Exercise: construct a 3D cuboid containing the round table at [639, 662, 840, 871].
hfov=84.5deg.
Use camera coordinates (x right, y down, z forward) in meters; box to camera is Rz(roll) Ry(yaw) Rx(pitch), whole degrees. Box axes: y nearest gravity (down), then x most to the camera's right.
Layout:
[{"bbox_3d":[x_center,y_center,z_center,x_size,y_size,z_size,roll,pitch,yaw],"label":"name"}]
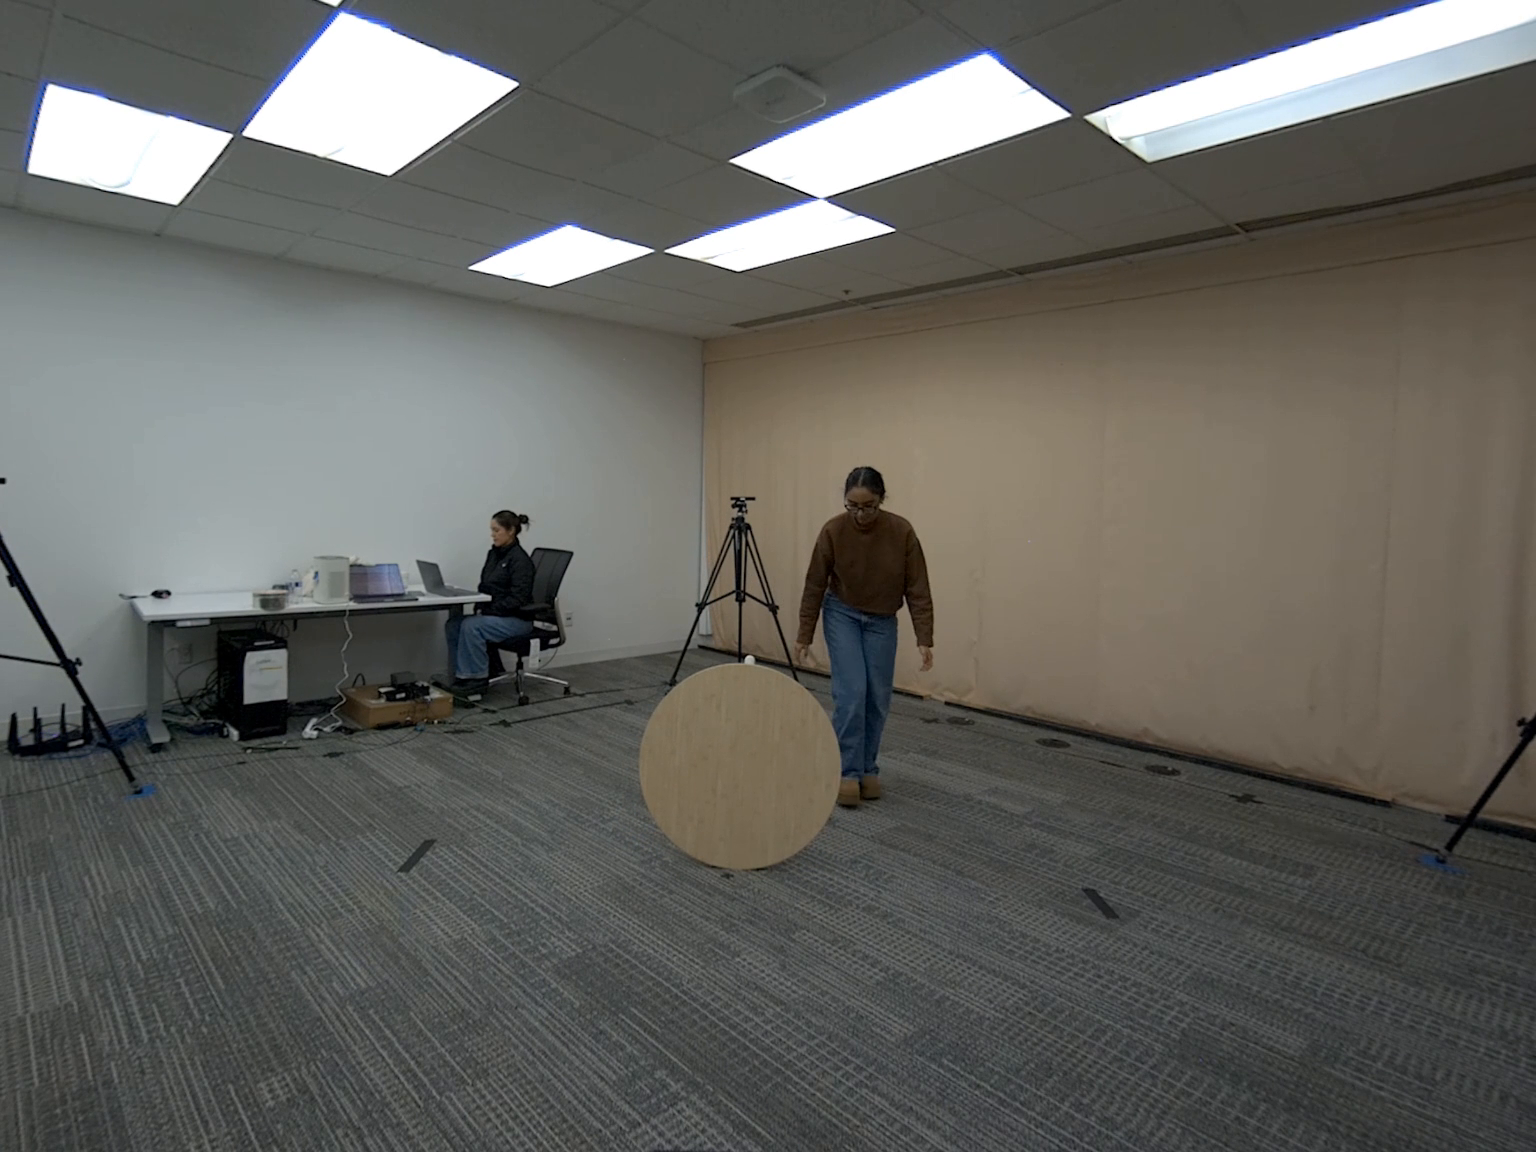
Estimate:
[{"bbox_3d":[-0.100,0.723,3.570,0.766,0.765,0.790,1,-1,3],"label":"round table"}]
